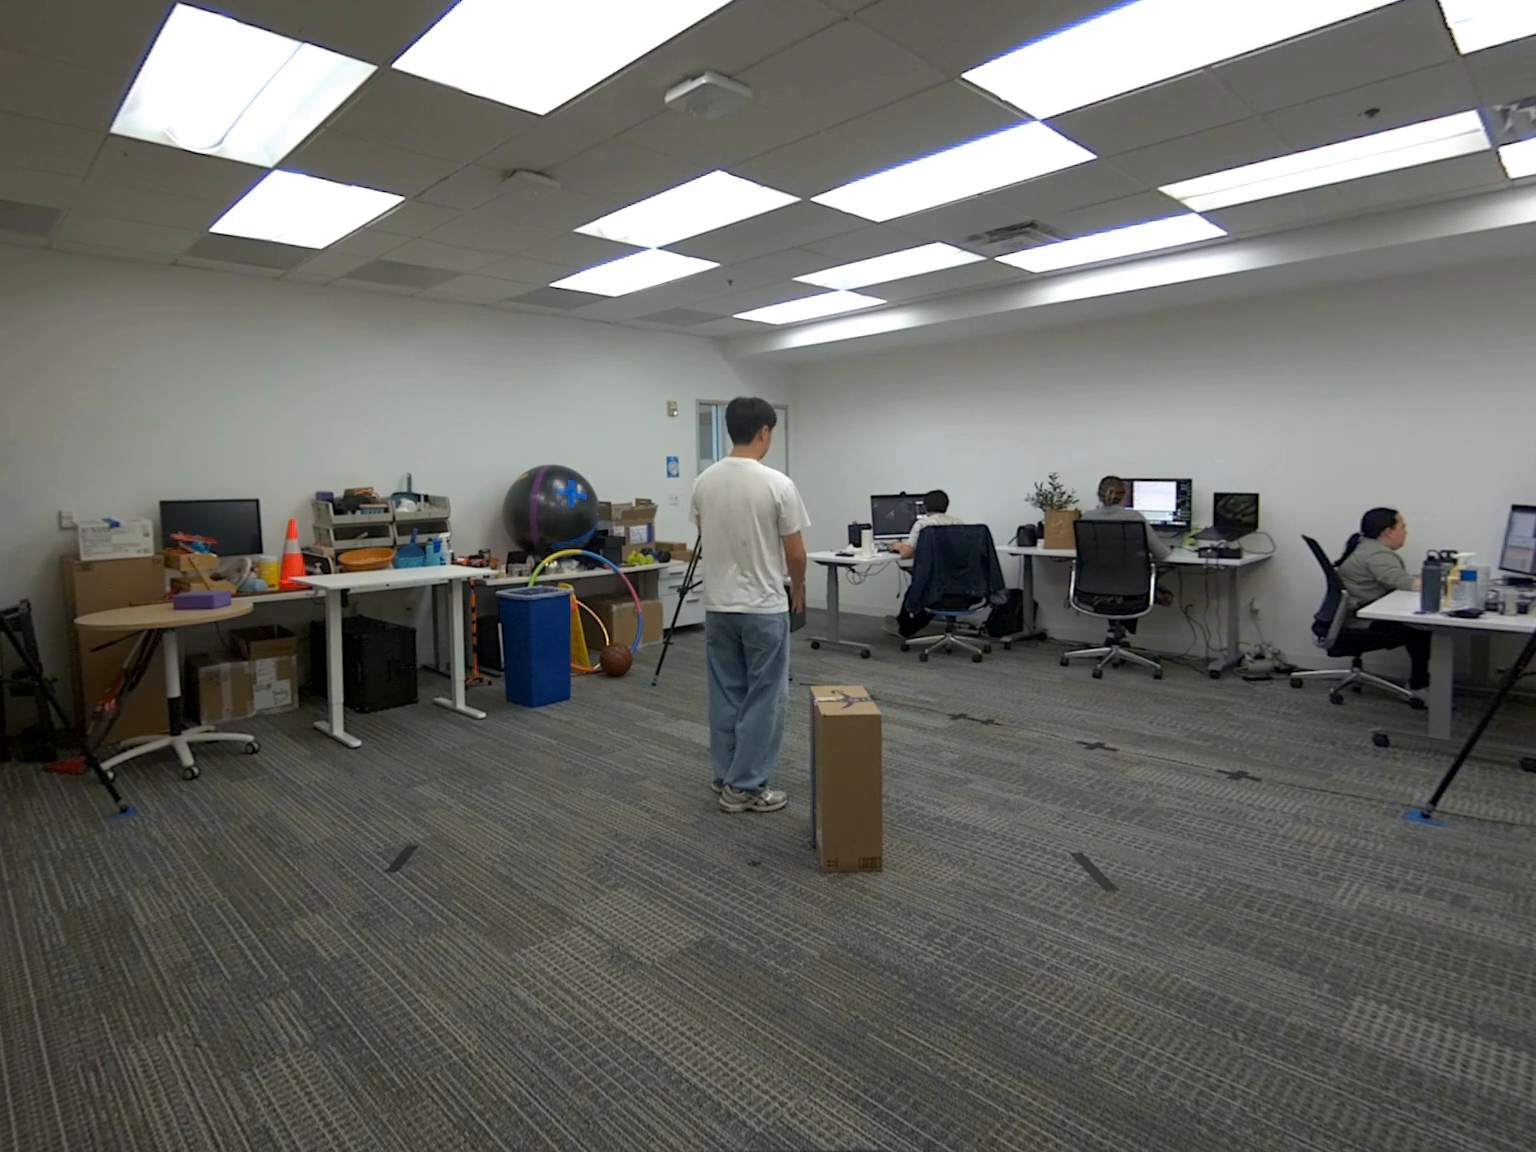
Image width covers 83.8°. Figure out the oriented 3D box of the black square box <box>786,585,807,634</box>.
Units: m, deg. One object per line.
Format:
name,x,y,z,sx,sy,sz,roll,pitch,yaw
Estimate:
black square box,0.043,0.125,3.950,0.223,0.225,0.153,5,13,31
